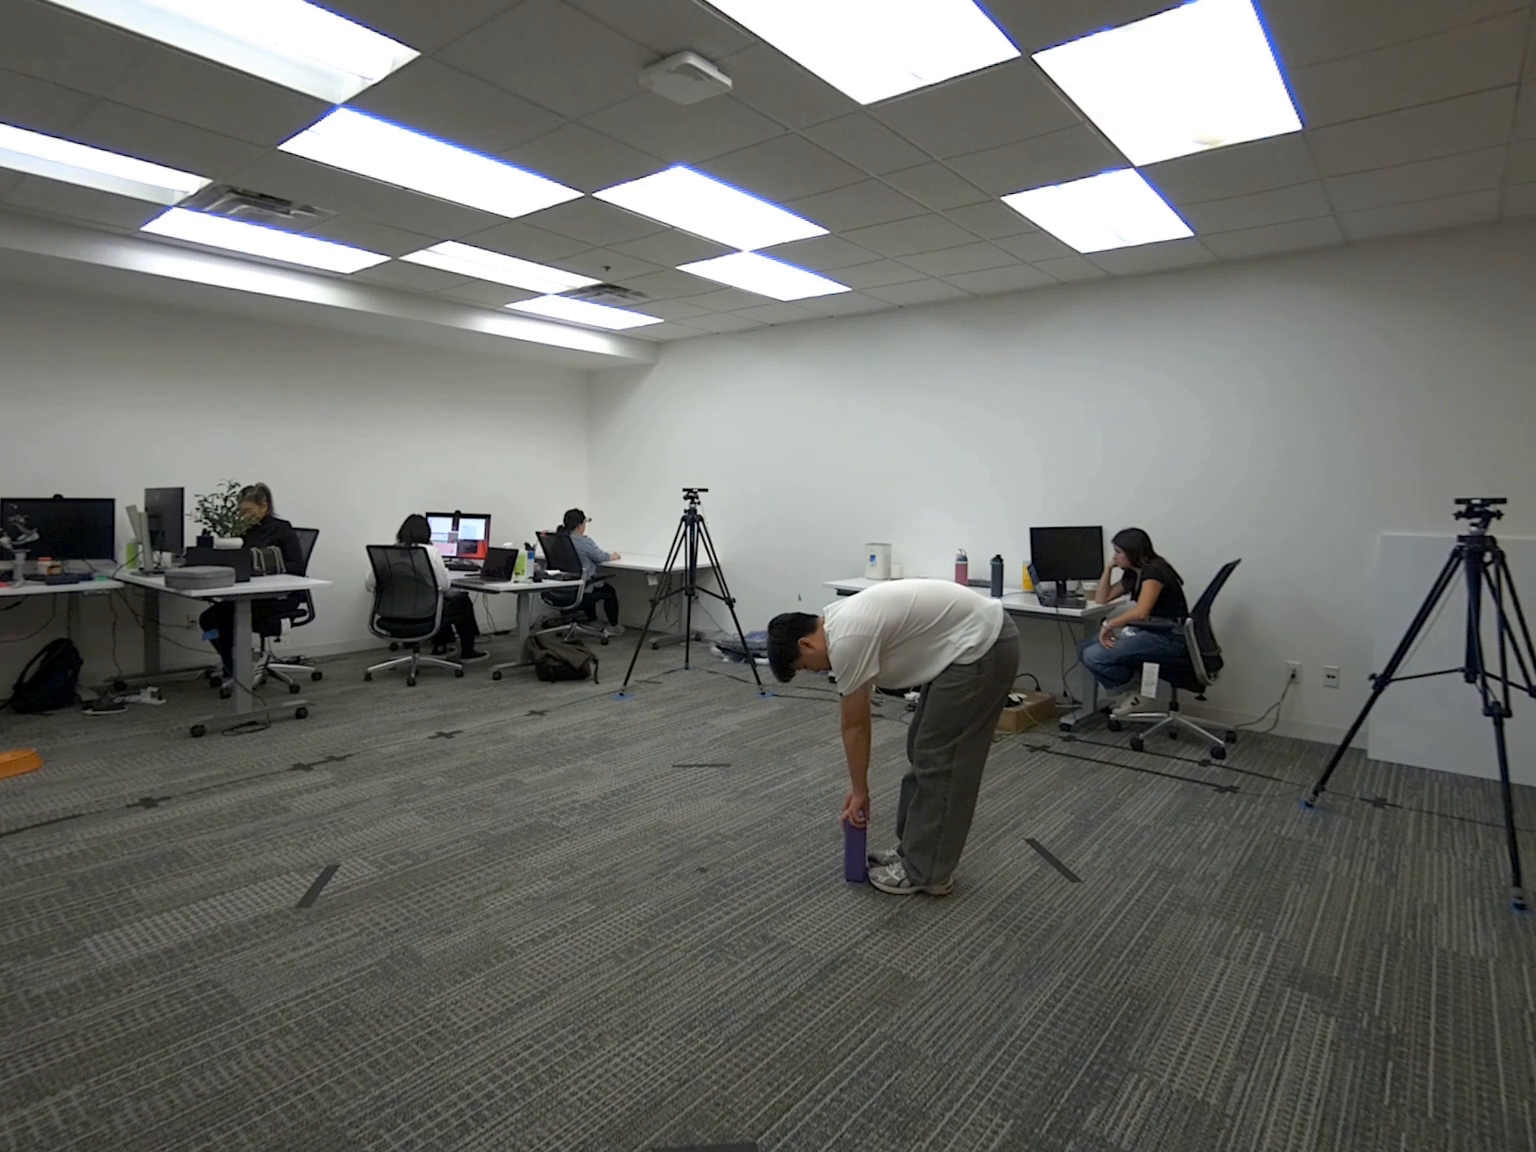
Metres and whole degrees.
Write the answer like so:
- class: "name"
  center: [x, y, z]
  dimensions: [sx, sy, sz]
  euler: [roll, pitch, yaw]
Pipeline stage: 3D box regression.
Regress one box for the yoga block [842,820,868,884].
- class: "yoga block"
  center: [0.322, 0.972, 3.112]
  dimensions: [0.077, 0.229, 0.148]
  euler: [2, 2, 3]
